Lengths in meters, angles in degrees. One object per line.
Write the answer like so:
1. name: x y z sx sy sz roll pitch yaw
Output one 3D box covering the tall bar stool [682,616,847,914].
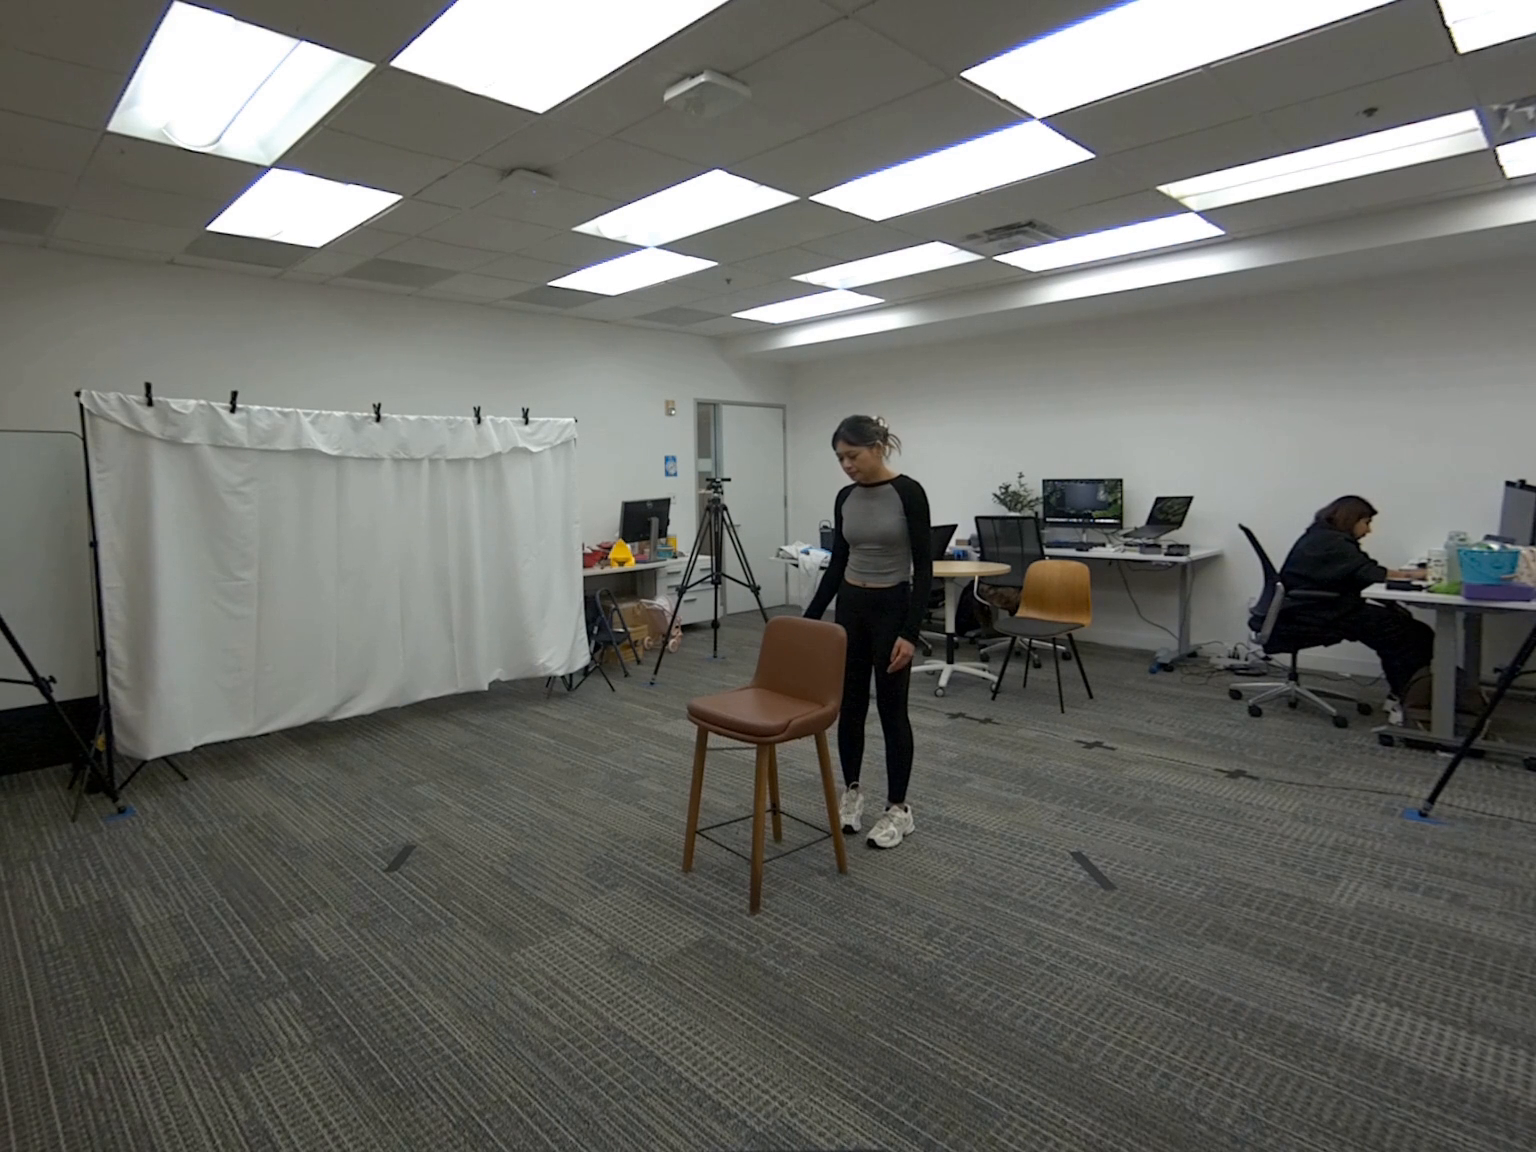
1. tall bar stool: -0.003 0.616 3.005 0.455 0.887 0.470 -2 4 -39
